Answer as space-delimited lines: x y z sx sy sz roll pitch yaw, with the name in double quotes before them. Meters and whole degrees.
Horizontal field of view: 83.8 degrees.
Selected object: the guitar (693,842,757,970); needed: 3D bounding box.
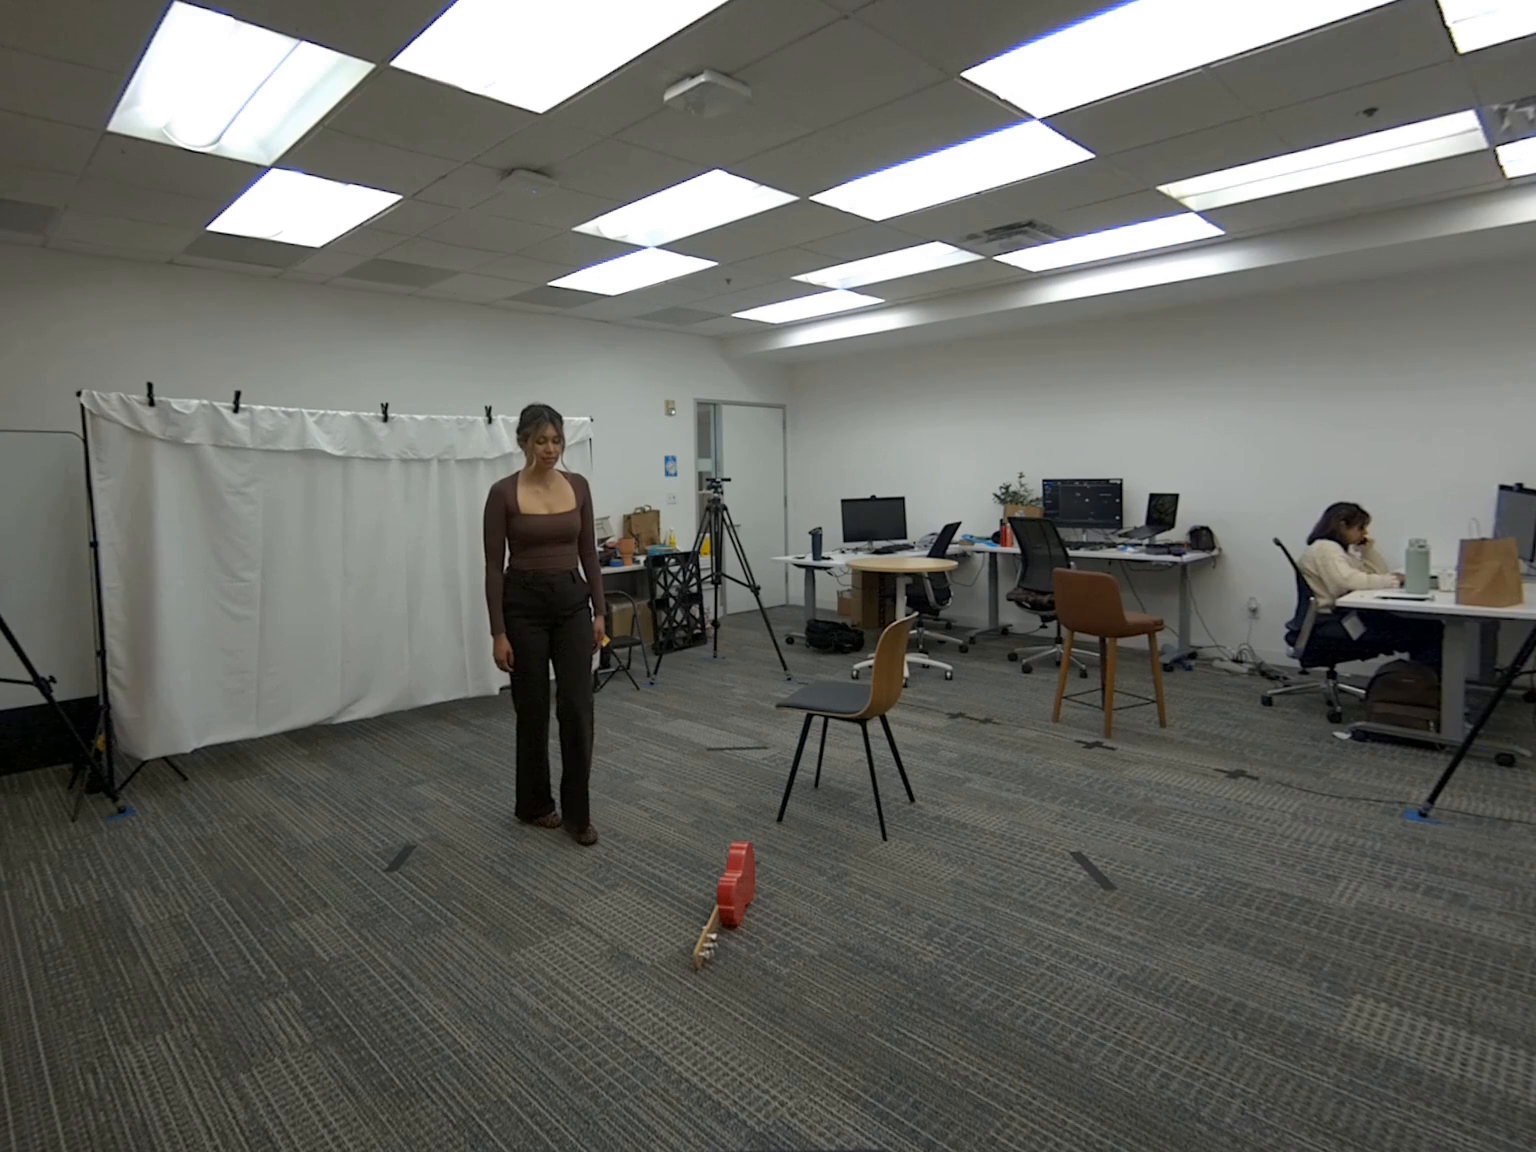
"guitar" -0.124 1.055 2.664 0.072 0.189 0.501 0 24 13
